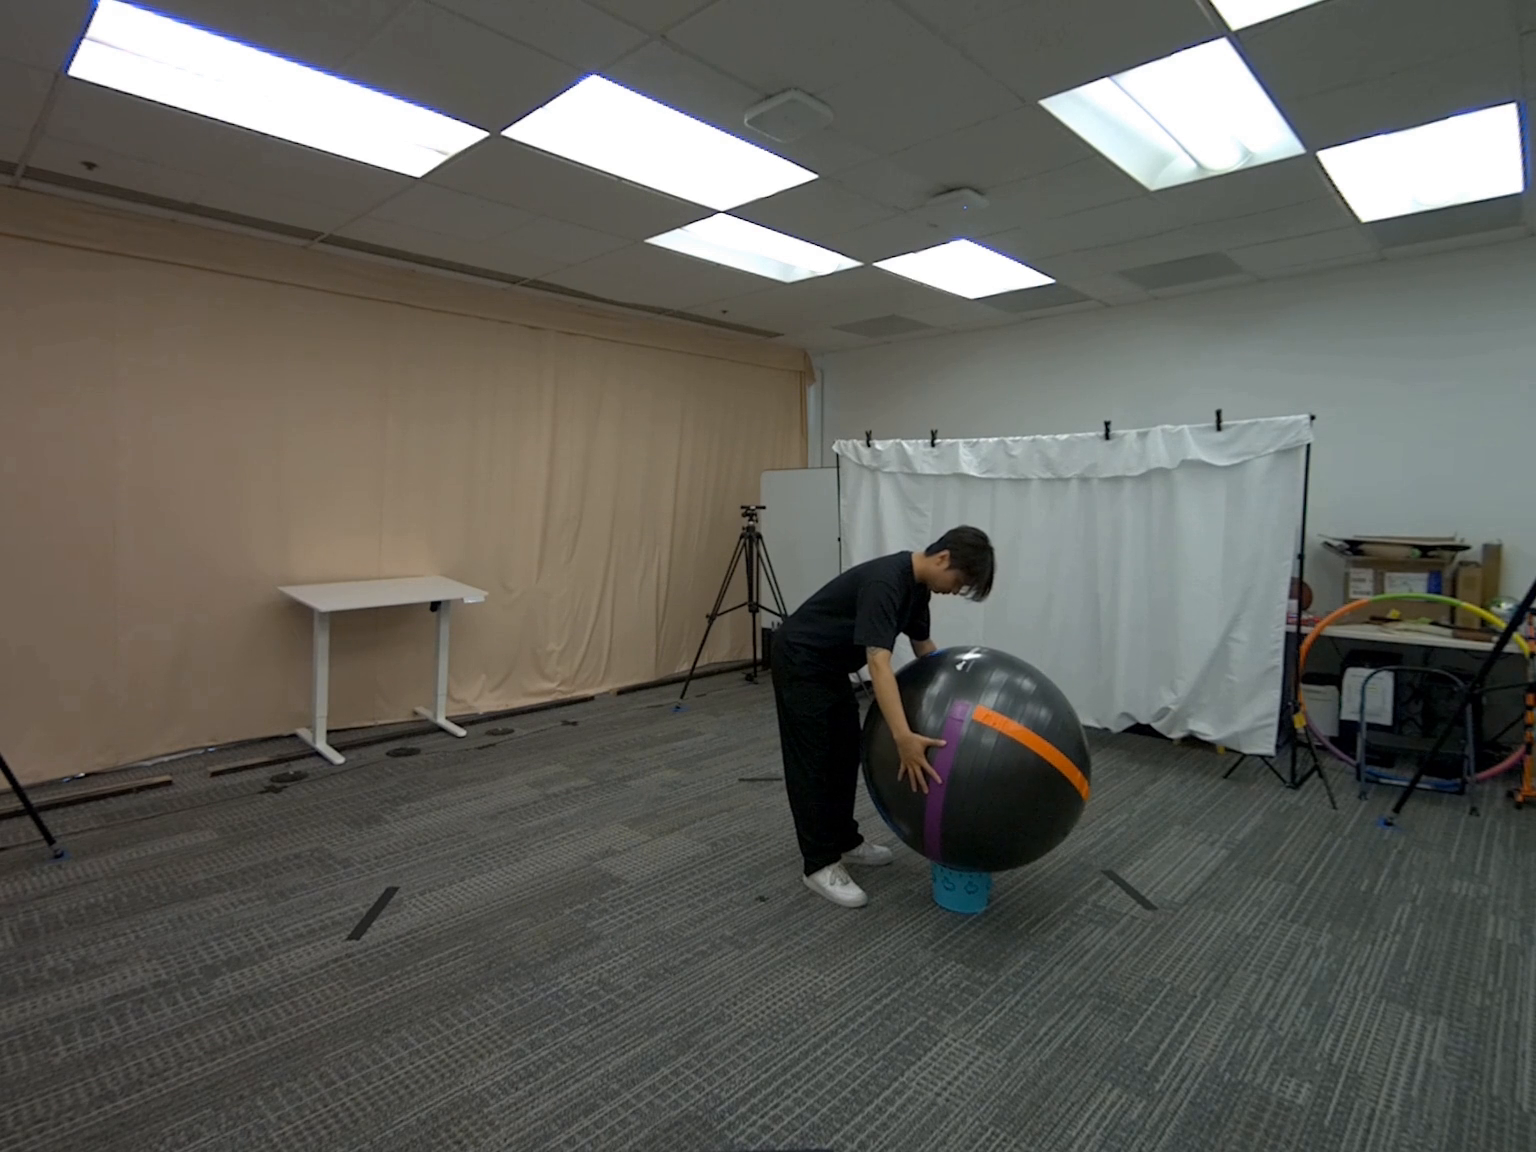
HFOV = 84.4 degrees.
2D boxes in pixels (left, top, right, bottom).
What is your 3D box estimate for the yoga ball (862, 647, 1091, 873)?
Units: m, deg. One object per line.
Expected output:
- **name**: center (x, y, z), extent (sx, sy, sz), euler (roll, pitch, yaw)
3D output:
- **yoga ball**: center (0.726, 0.634, 2.922), extent (0.757, 0.756, 0.760), euler (0, 4, -2)
